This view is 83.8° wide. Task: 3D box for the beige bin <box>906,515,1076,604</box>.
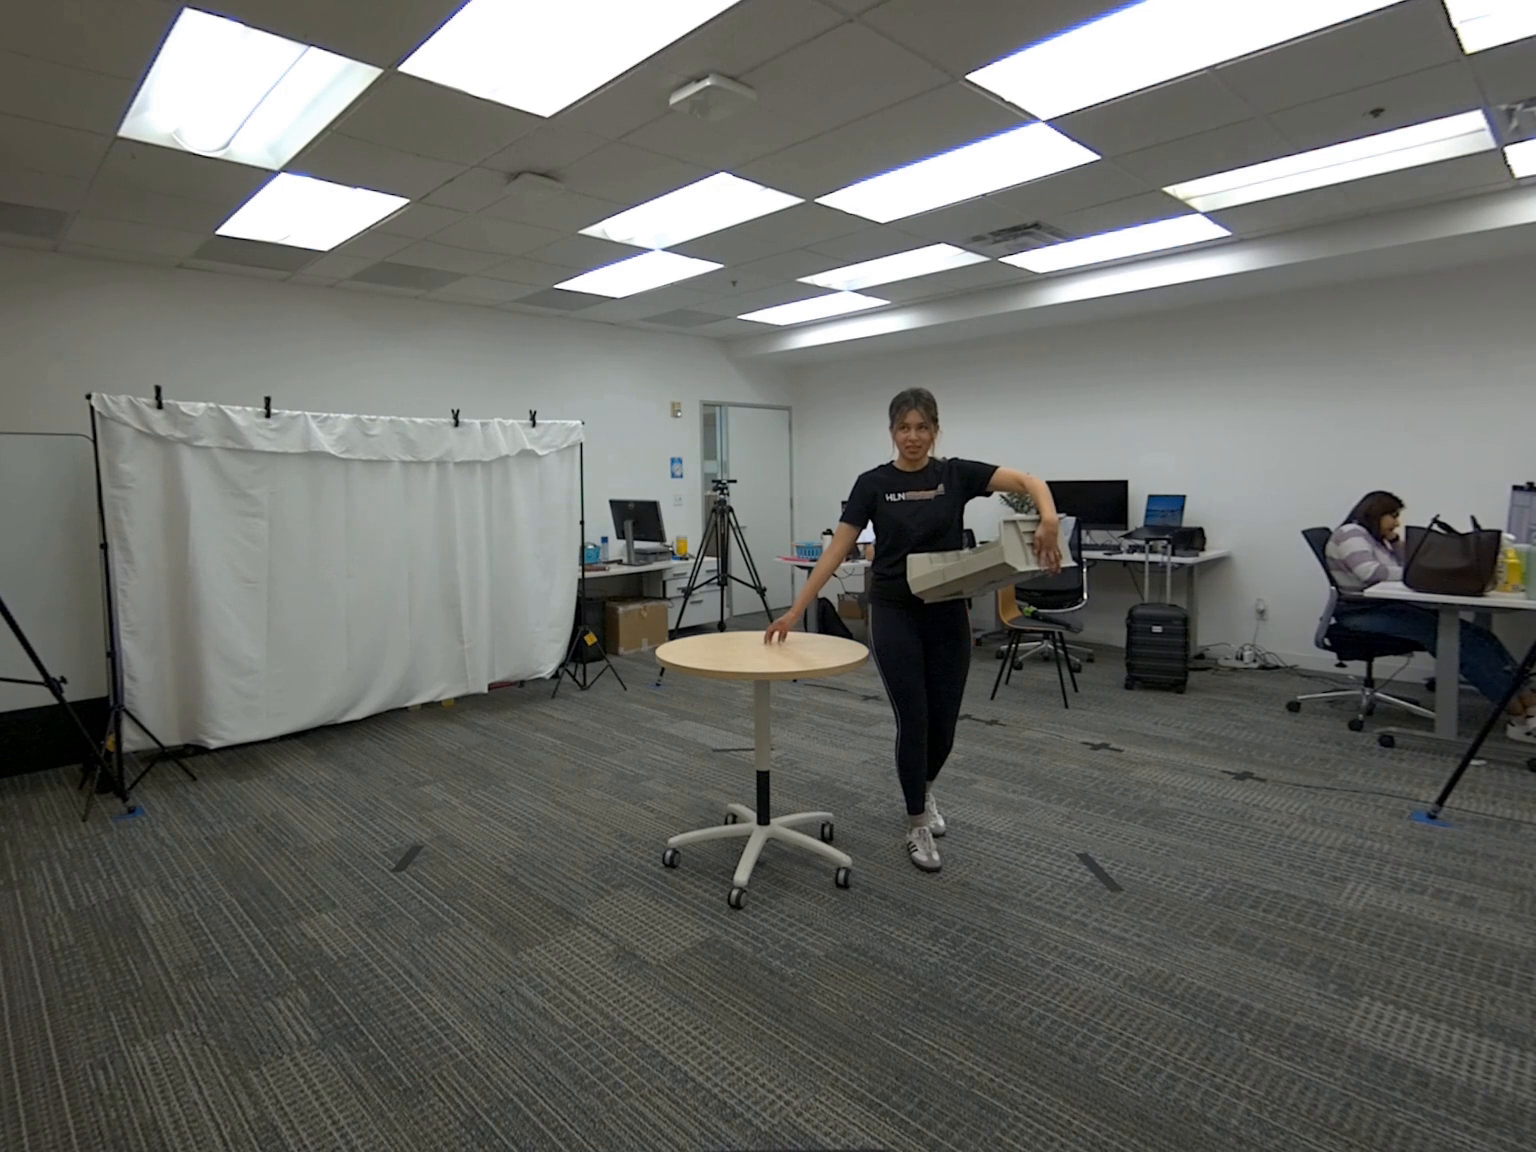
[{"bbox_3d":[0.751,-0.054,2.913,0.367,0.191,0.428,-3,-14,-36],"label":"beige bin"}]
